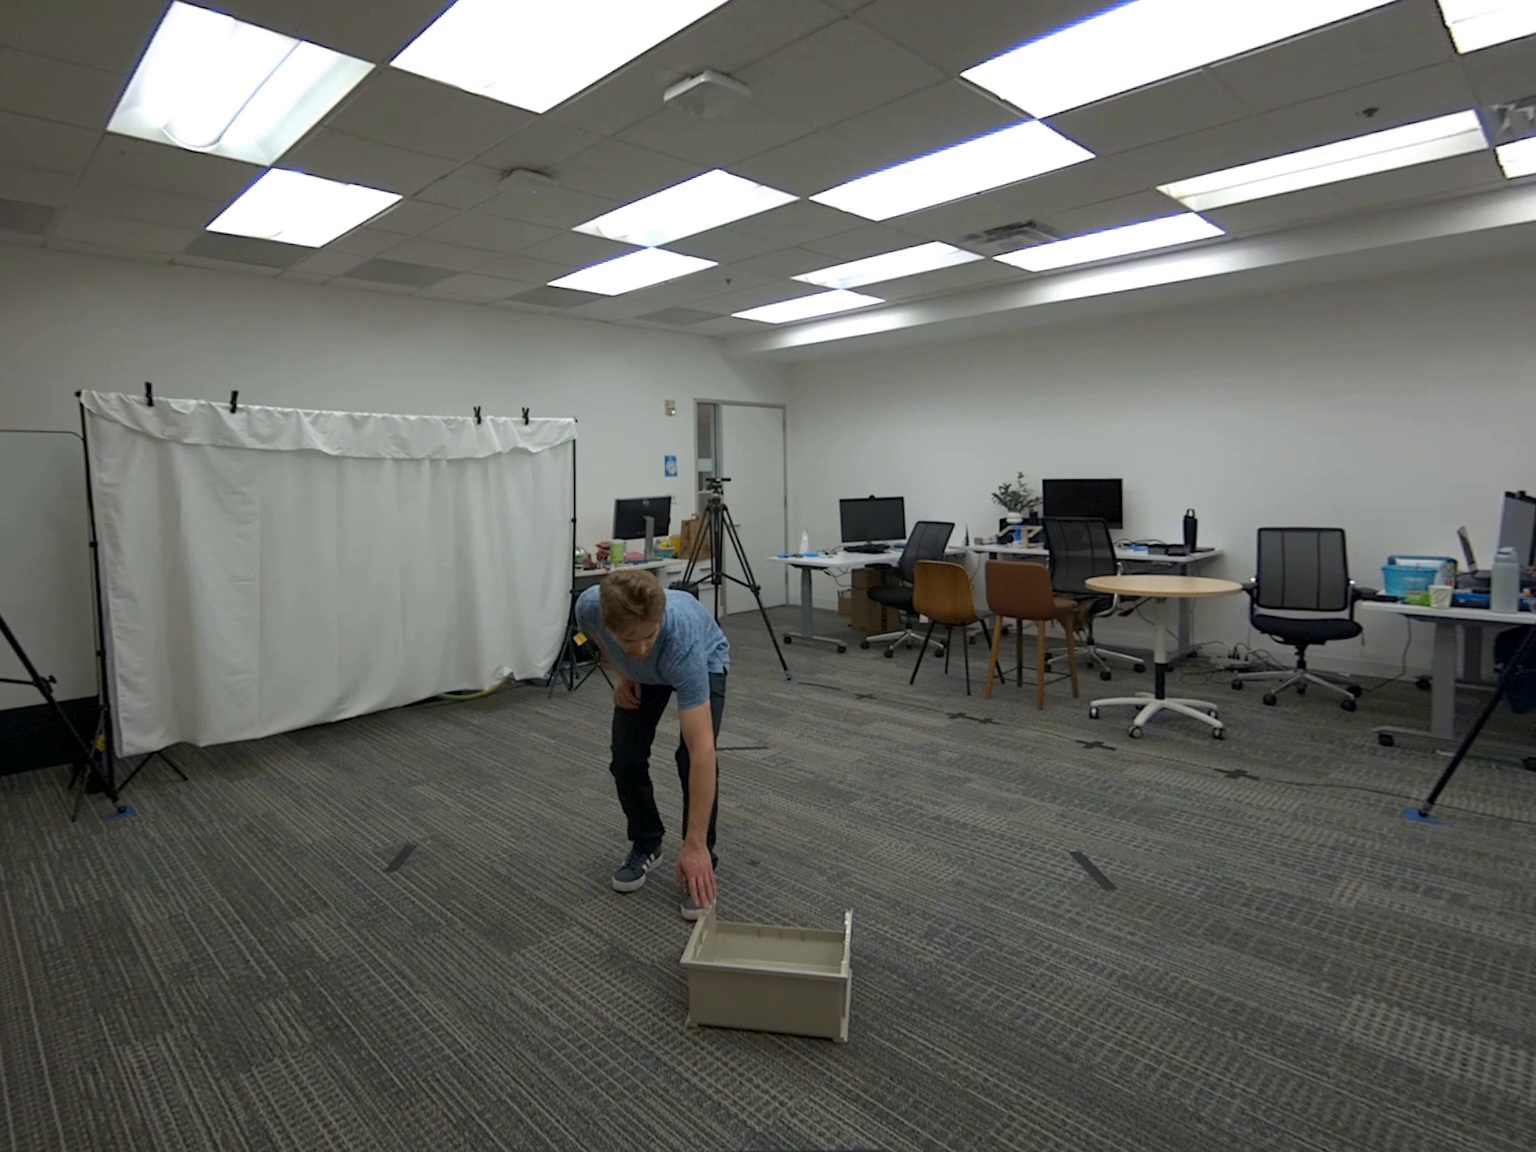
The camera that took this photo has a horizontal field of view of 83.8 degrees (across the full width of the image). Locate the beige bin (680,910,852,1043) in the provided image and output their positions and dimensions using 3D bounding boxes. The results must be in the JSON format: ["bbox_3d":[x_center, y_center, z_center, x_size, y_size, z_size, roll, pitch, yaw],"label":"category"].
[{"bbox_3d":[0.015,1.046,2.314,0.426,0.188,0.376,0,7,9],"label":"beige bin"}]
